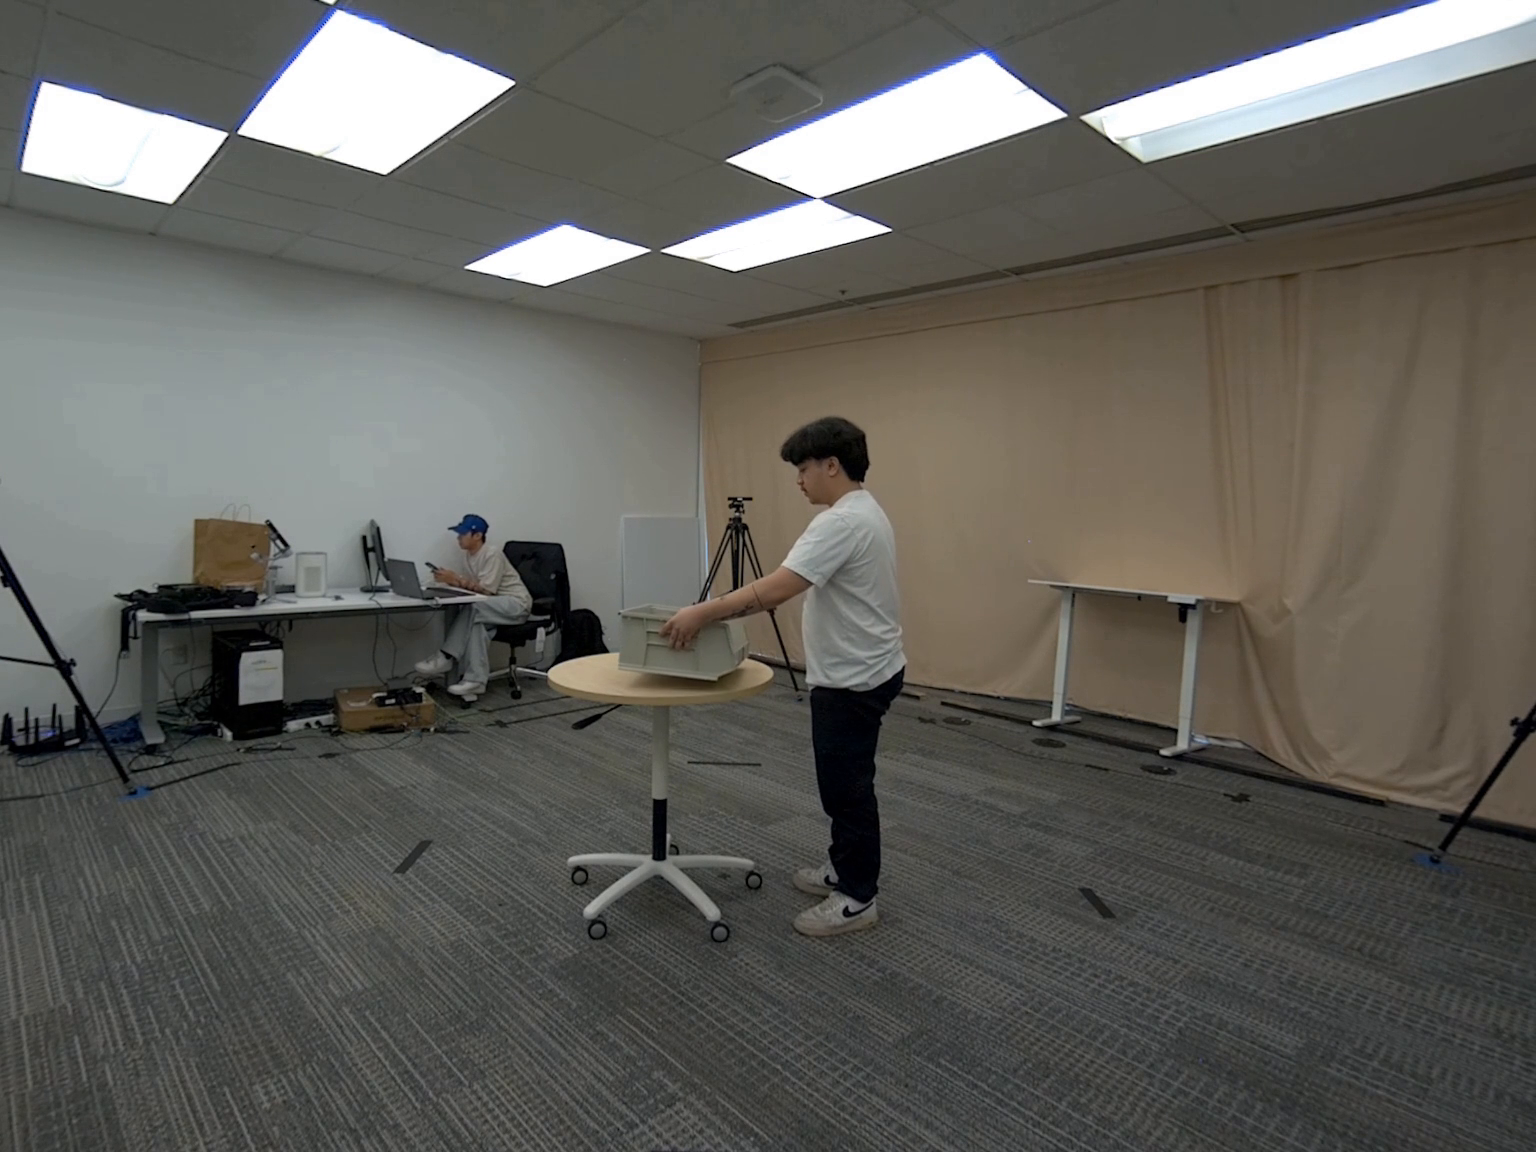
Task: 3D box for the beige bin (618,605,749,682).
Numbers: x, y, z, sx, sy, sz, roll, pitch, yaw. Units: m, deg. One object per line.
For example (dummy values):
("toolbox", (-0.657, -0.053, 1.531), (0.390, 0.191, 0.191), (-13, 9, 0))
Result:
("beige bin", (-0.265, 0.214, 2.772), (0.379, 0.189, 0.420), (3, 2, 5))
